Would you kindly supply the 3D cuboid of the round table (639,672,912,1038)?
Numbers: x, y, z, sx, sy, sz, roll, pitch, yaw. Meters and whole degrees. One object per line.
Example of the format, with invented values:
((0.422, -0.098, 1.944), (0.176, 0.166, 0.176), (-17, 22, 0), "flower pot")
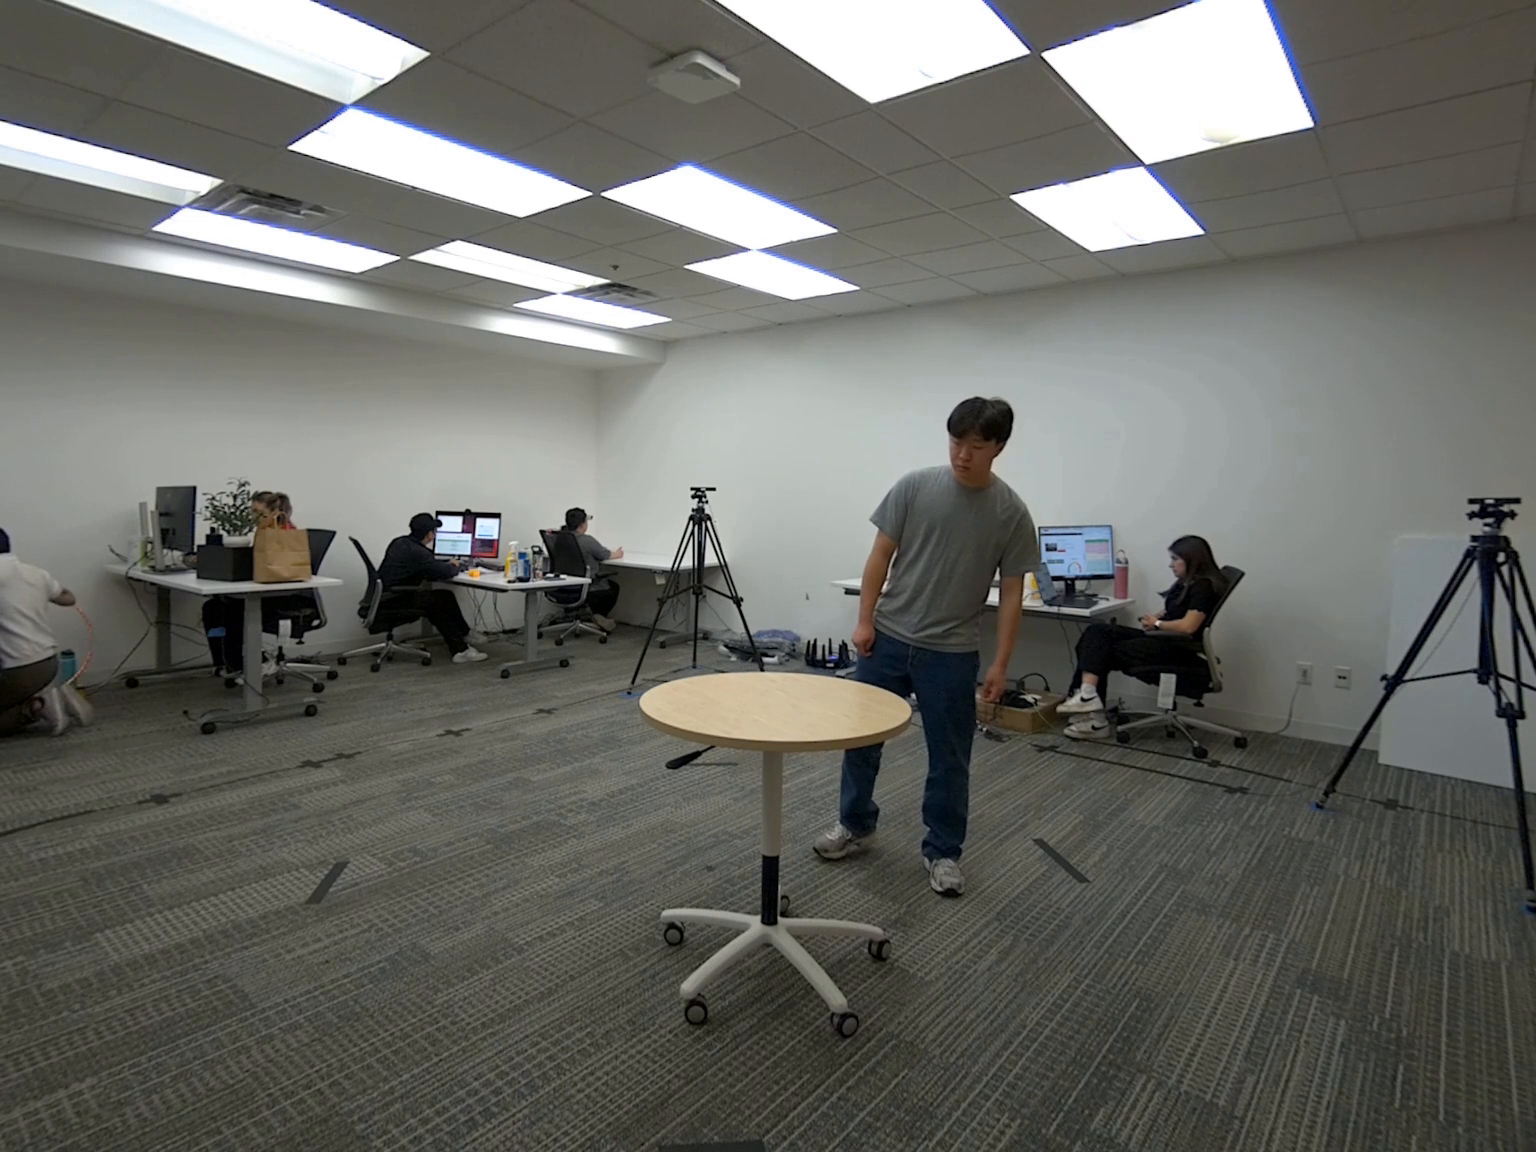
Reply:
((-0.002, 0.747, 2.446), (0.763, 0.791, 0.768), (1, 4, -2), "round table")
